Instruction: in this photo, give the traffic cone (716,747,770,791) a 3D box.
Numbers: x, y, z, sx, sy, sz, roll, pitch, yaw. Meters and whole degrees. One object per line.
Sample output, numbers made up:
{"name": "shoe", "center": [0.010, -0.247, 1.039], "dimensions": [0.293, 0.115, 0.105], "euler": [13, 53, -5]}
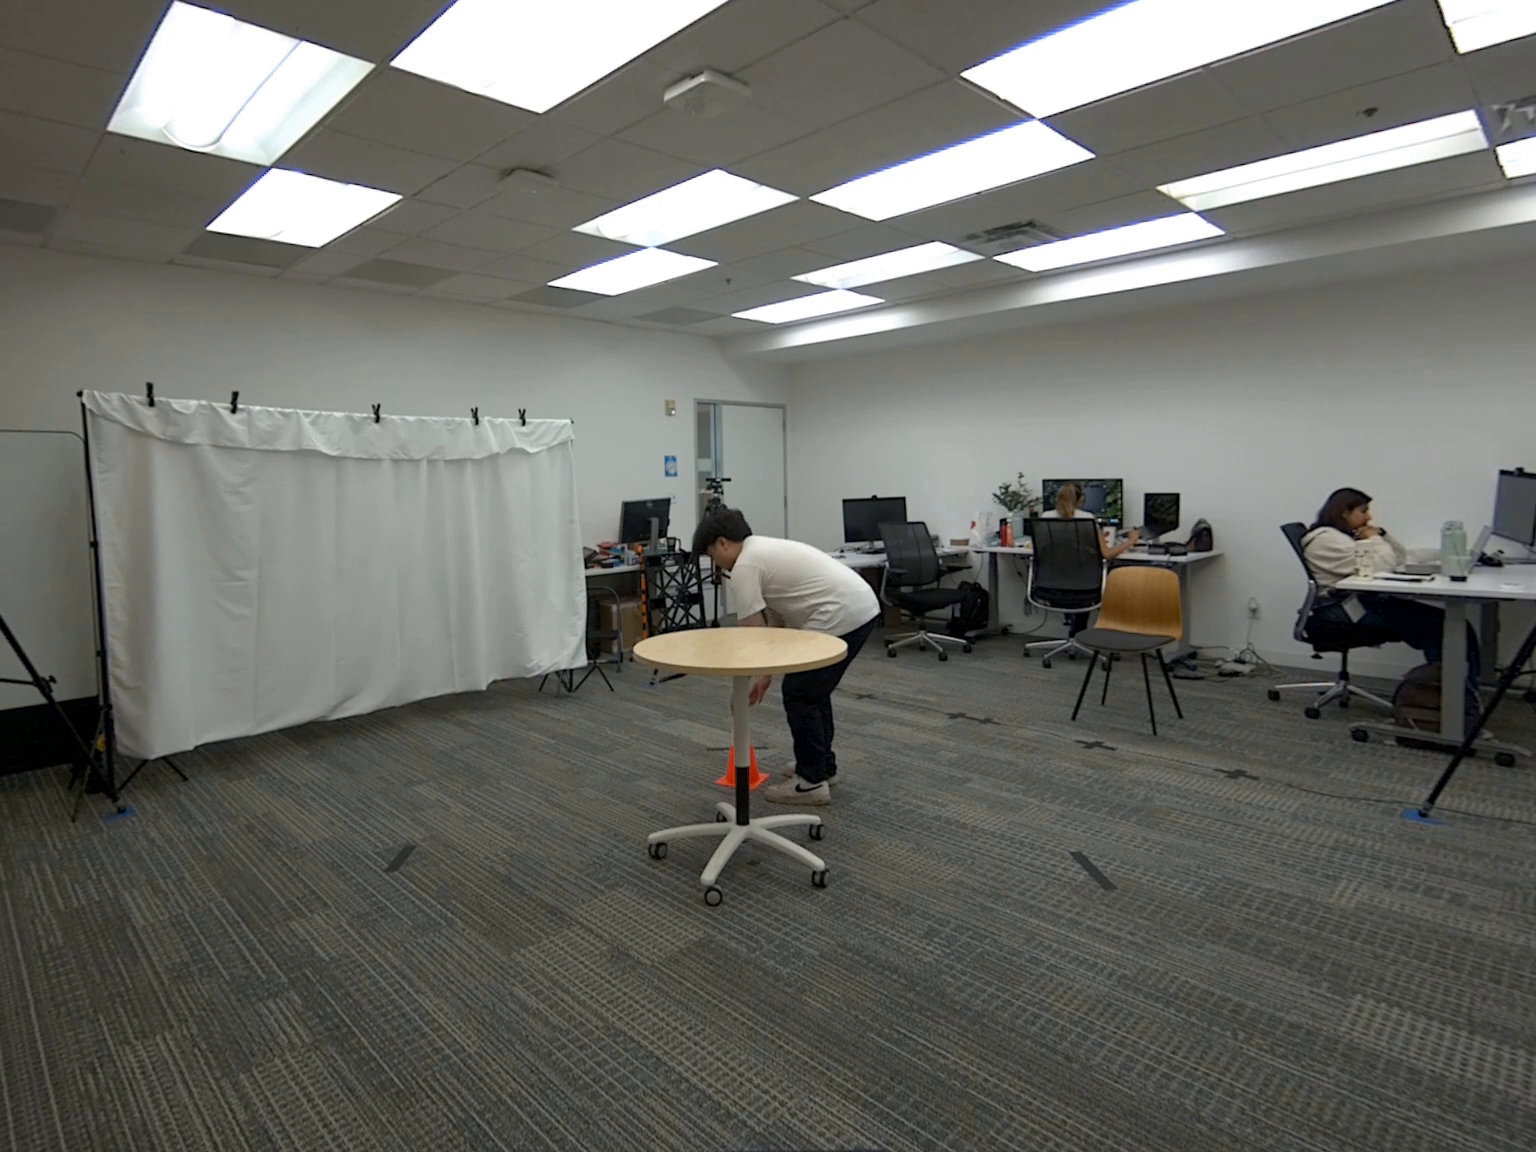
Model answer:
{"name": "traffic cone", "center": [-0.123, 0.762, 3.971], "dimensions": [0.210, 0.382, 0.199], "euler": [0, 5, 34]}
